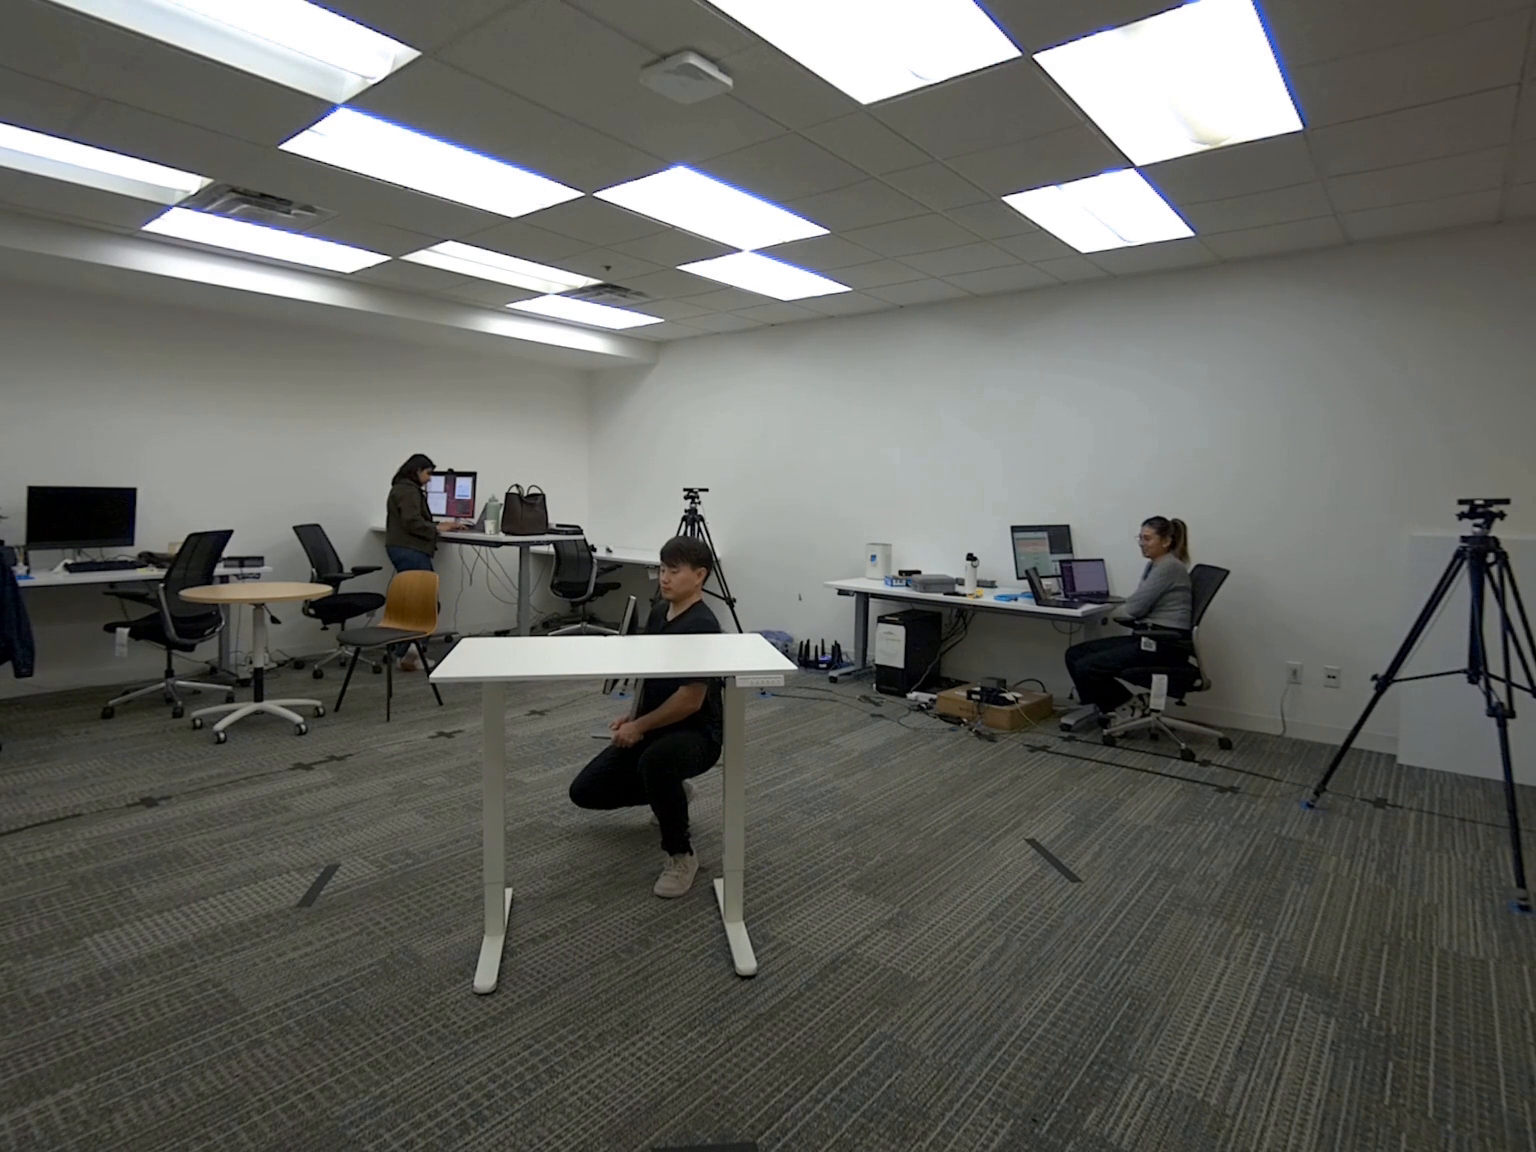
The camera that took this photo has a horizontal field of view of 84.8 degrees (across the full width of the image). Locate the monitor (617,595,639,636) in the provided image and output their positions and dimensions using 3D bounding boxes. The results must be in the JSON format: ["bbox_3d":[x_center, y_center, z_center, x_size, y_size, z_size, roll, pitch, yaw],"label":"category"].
[{"bbox_3d":[-0.563,0.347,3.348,0.185,0.525,0.542,4,-5,-11],"label":"monitor"}]
